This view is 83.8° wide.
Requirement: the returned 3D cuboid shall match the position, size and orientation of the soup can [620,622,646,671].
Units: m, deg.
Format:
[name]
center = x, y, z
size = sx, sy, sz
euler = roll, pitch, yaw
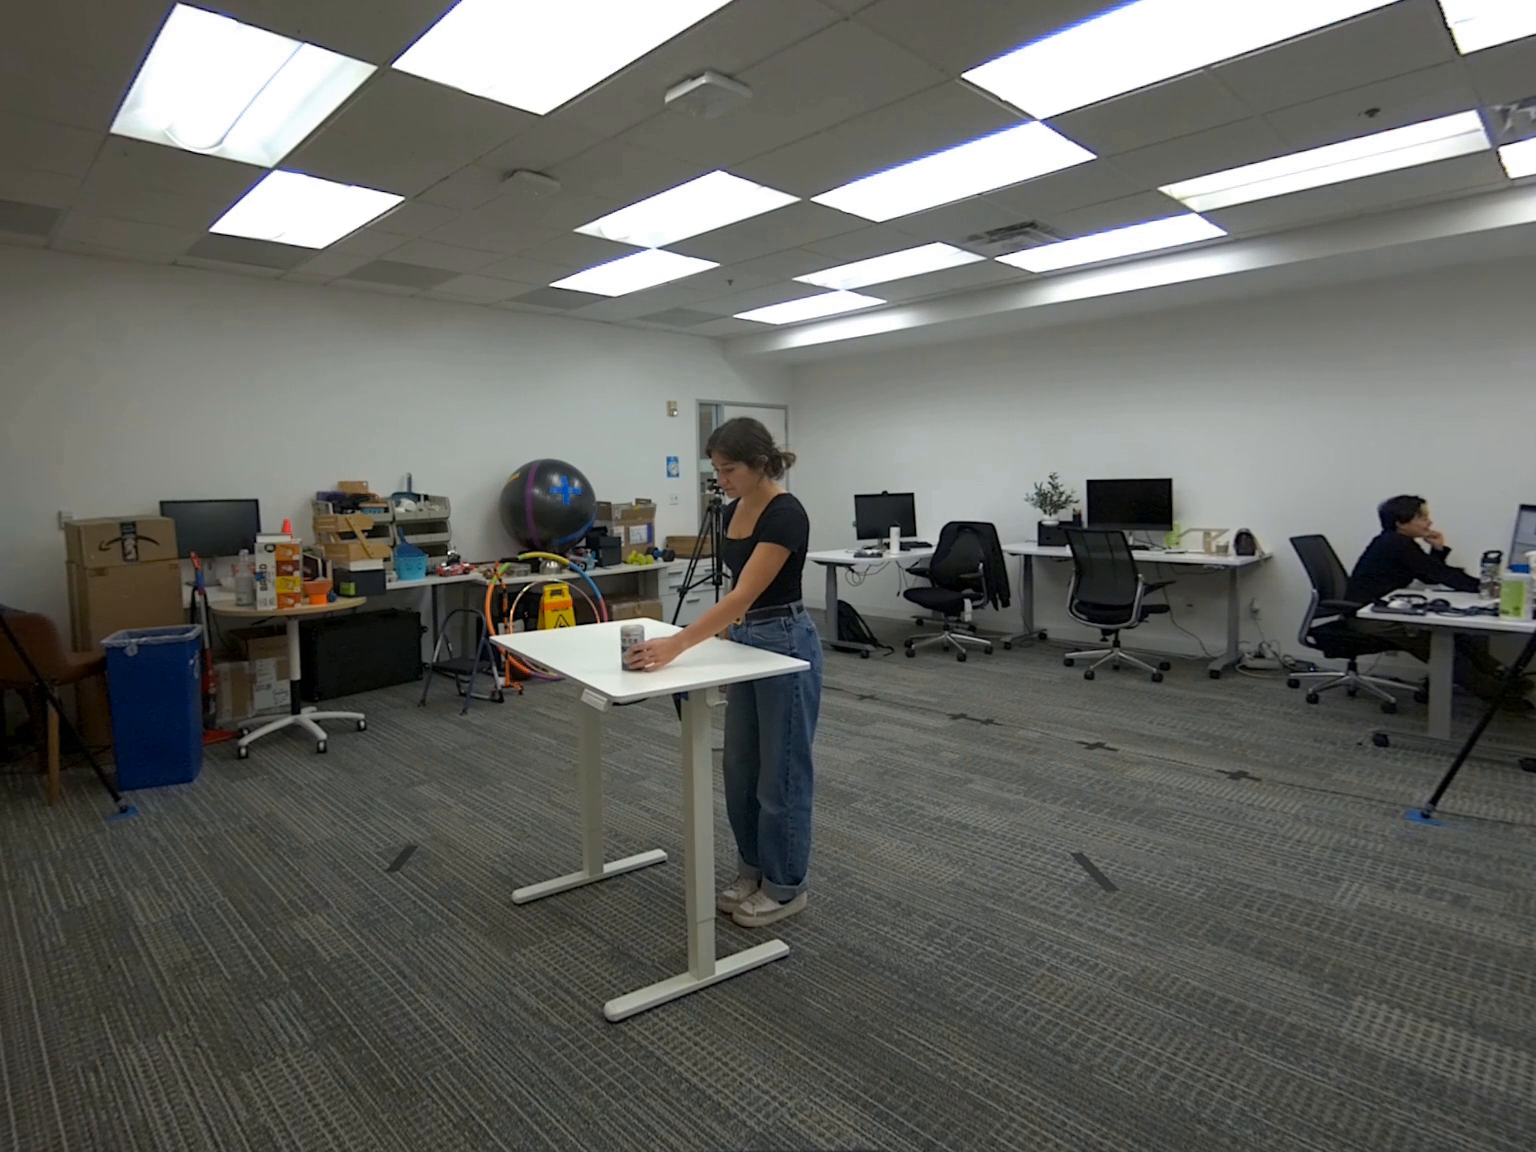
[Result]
[soup can]
center = -0.363, 0.197, 2.346
size = 0.067, 0.121, 0.067
euler = 0, 4, -2
